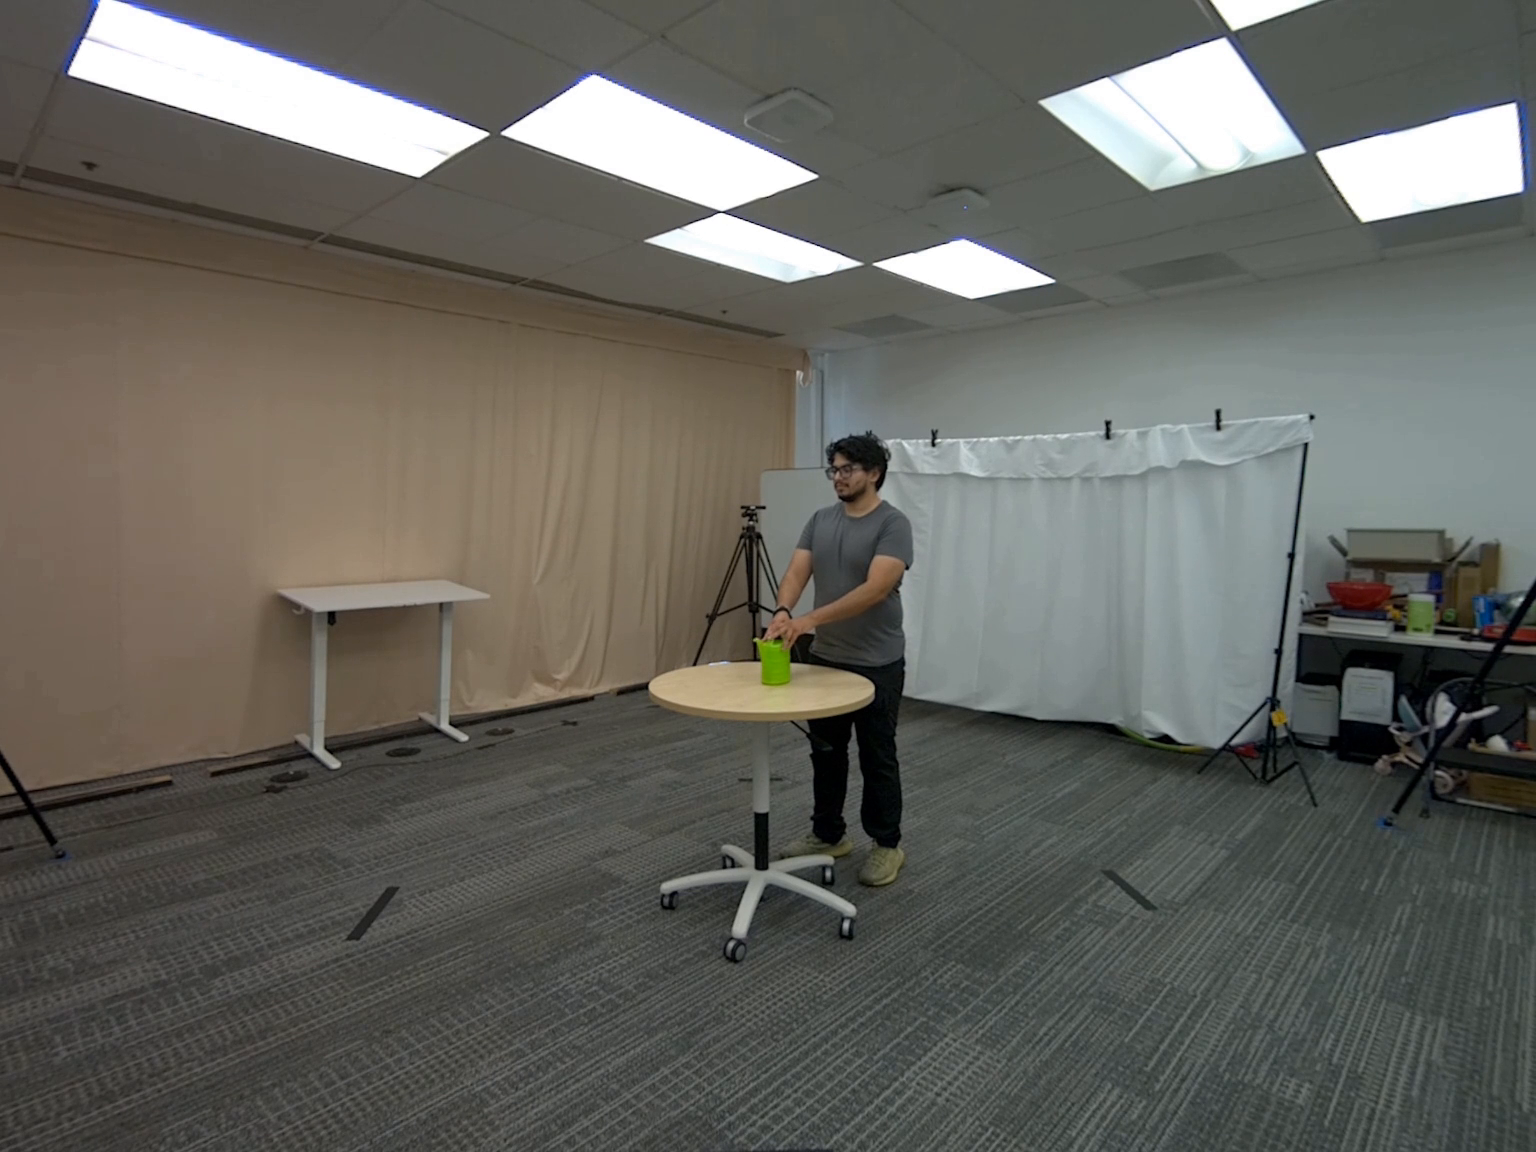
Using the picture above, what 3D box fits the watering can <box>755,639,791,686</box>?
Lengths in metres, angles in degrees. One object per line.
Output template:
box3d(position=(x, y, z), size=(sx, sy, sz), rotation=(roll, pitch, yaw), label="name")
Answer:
box3d(position=(0.003, 0.283, 2.871), size=(0.101, 0.176, 0.270), rotation=(2, 2, 38), label="watering can")
